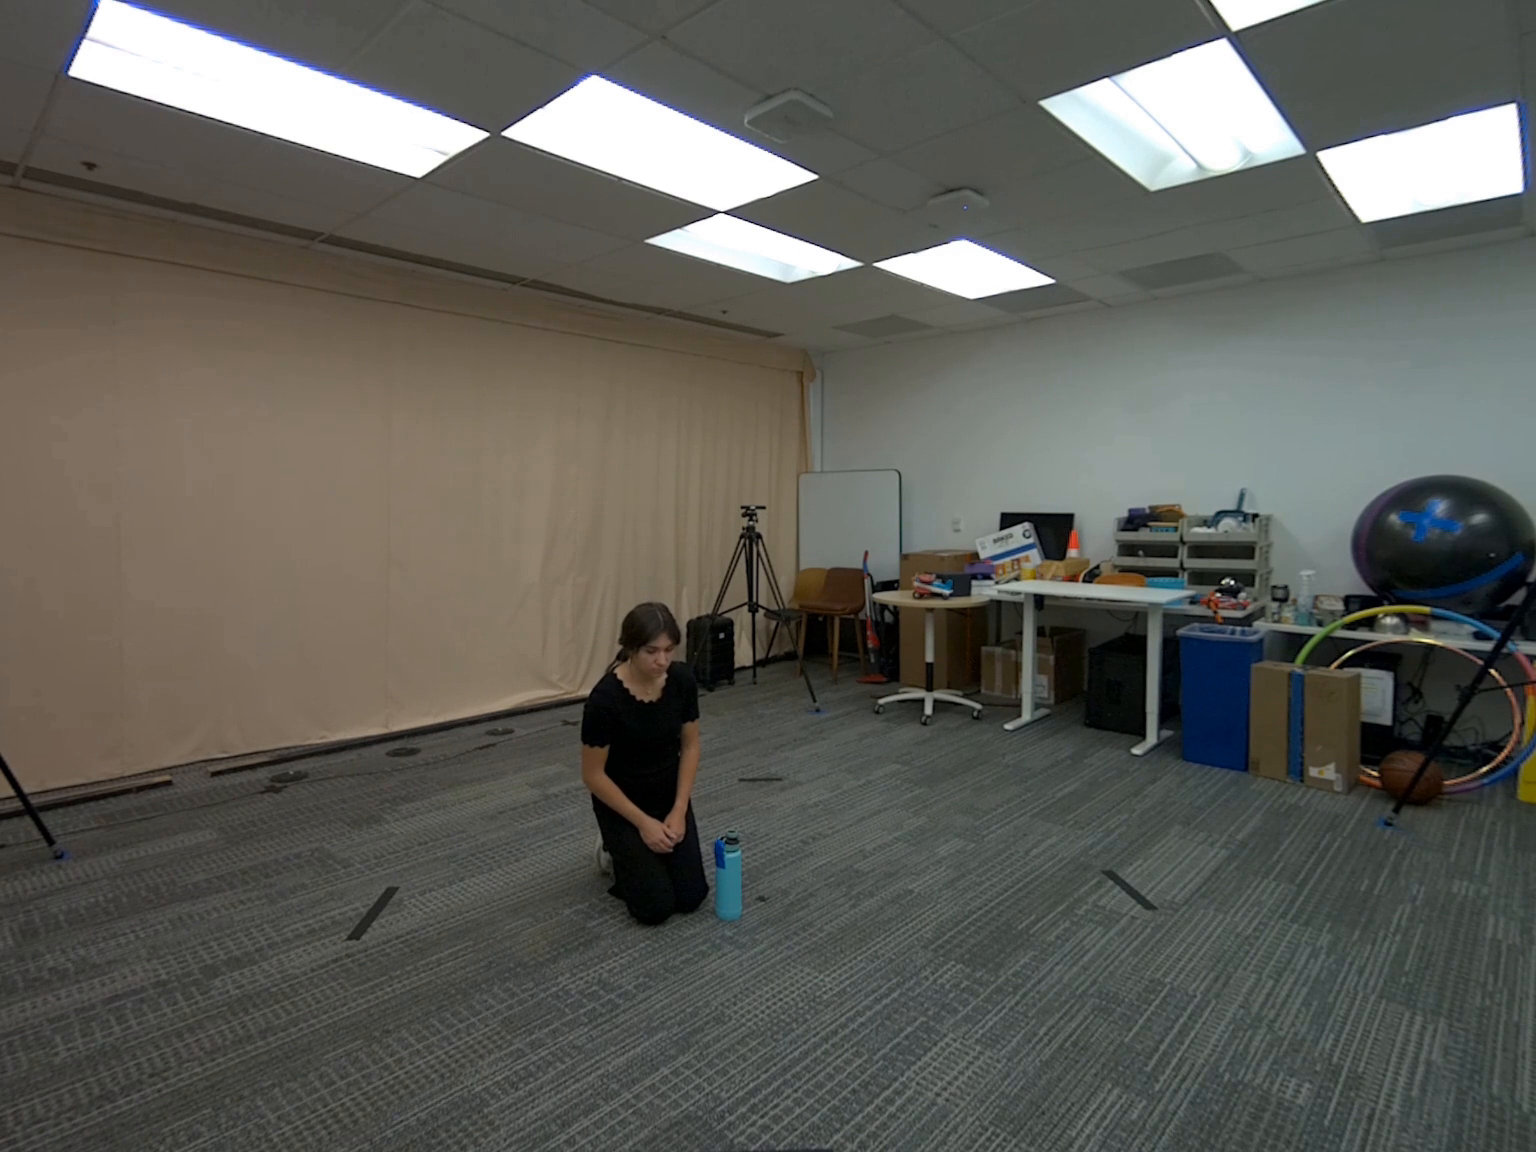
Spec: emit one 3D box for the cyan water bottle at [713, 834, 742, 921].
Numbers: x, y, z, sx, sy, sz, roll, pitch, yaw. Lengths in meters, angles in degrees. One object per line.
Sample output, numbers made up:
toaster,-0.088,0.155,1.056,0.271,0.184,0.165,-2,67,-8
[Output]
cyan water bottle,-0.137,1.020,2.854,0.092,0.282,0.093,-3,4,-2
